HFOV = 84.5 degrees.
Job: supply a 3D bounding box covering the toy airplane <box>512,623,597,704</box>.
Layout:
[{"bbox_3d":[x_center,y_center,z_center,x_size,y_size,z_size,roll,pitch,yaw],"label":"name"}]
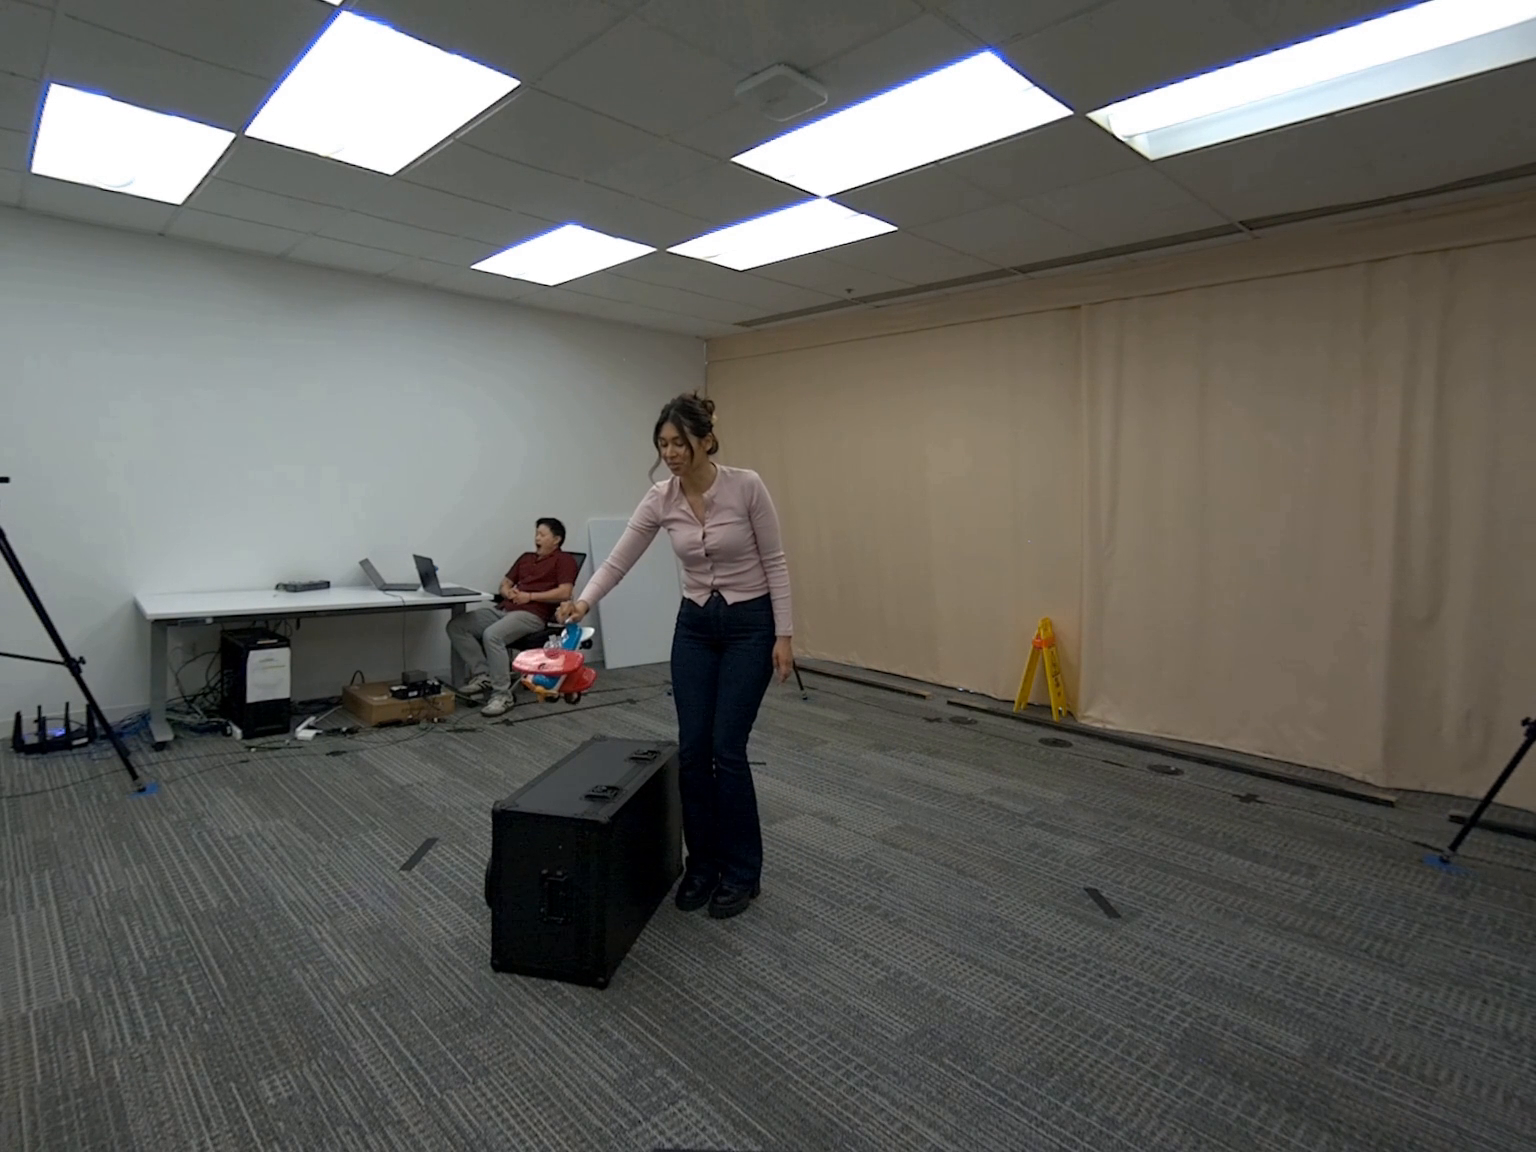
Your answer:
[{"bbox_3d":[-0.648,0.265,2.540,0.252,0.266,0.151,-25,-41,11],"label":"toy airplane"}]
